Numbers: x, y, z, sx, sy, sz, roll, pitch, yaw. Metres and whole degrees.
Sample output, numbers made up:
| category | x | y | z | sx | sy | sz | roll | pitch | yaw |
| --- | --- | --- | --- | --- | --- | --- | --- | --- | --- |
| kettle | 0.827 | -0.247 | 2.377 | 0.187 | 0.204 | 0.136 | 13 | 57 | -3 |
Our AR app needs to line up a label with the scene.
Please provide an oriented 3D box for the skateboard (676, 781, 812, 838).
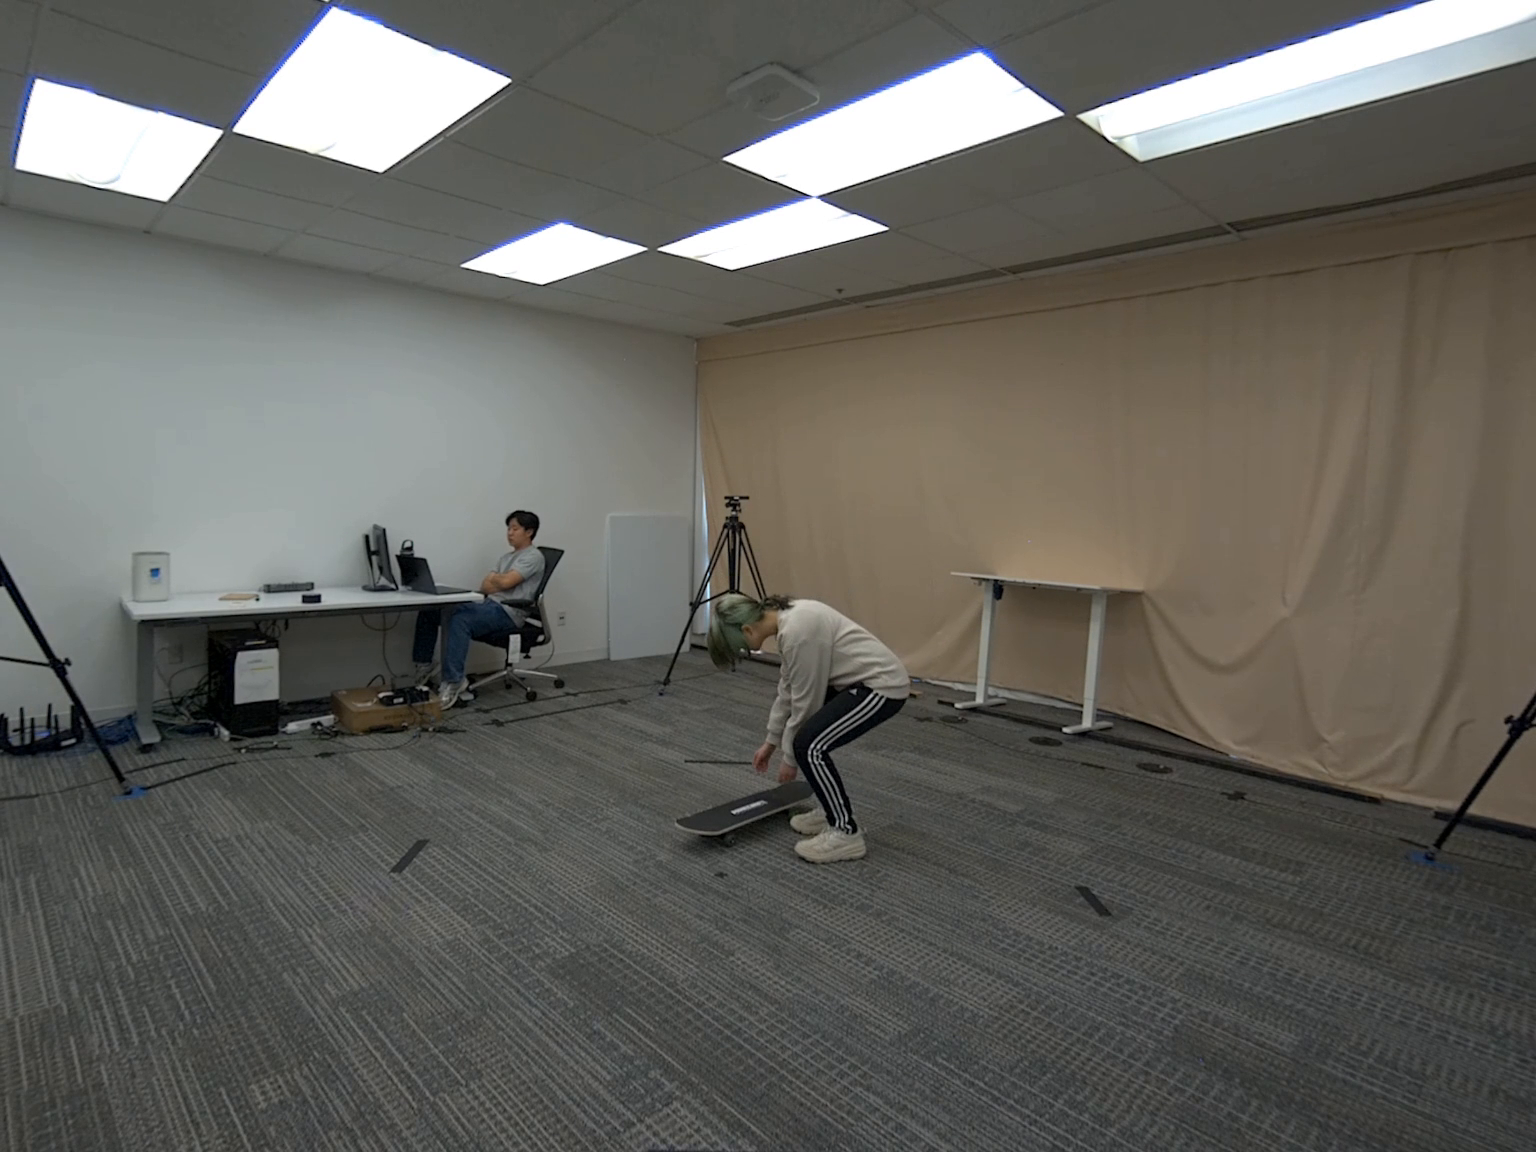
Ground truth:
| category | x | y | z | sx | sy | sz | roll | pitch | yaw |
| --- | --- | --- | --- | --- | --- | --- | --- | --- | --- |
| skateboard | -0.084 | 1.006 | 3.555 | 0.198 | 0.110 | 0.768 | 5 | 6 | 42 |
